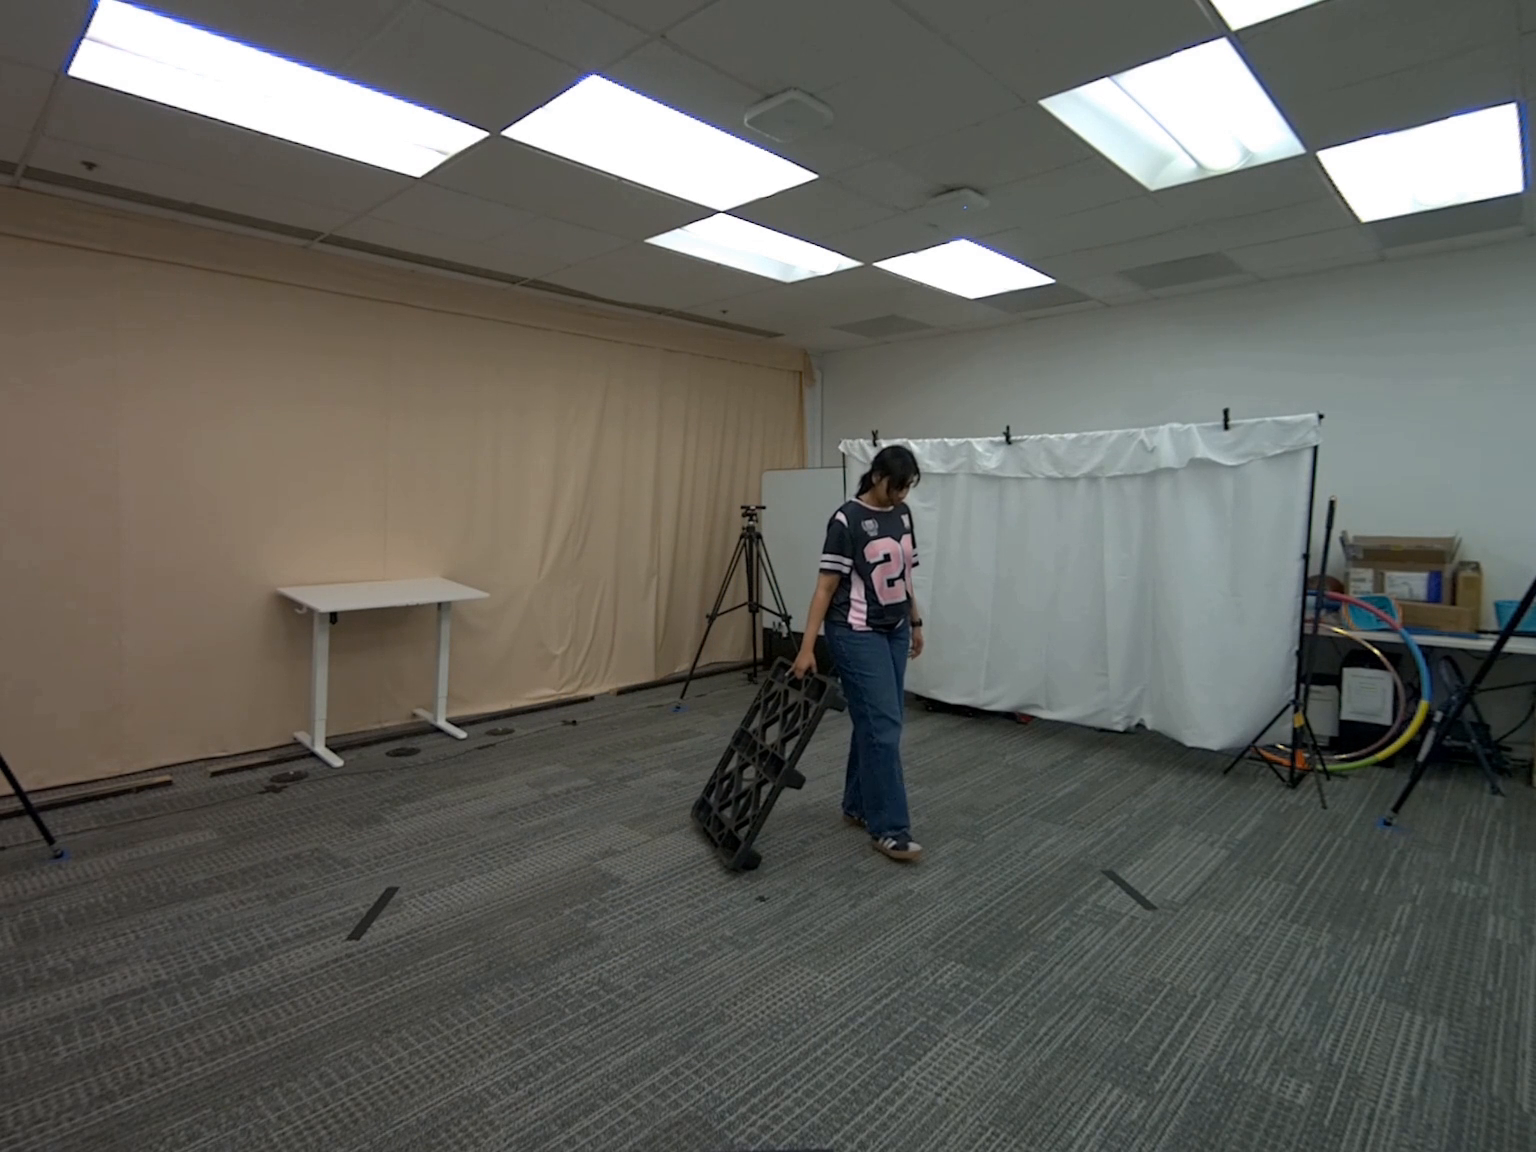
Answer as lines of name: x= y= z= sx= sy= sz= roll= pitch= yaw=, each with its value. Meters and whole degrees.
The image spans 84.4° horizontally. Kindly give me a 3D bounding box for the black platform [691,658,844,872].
black platform: x=0.004 y=0.759 z=3.467 sx=0.140 sy=0.805 sz=0.618 roll=31 pitch=-5 yaw=-19
